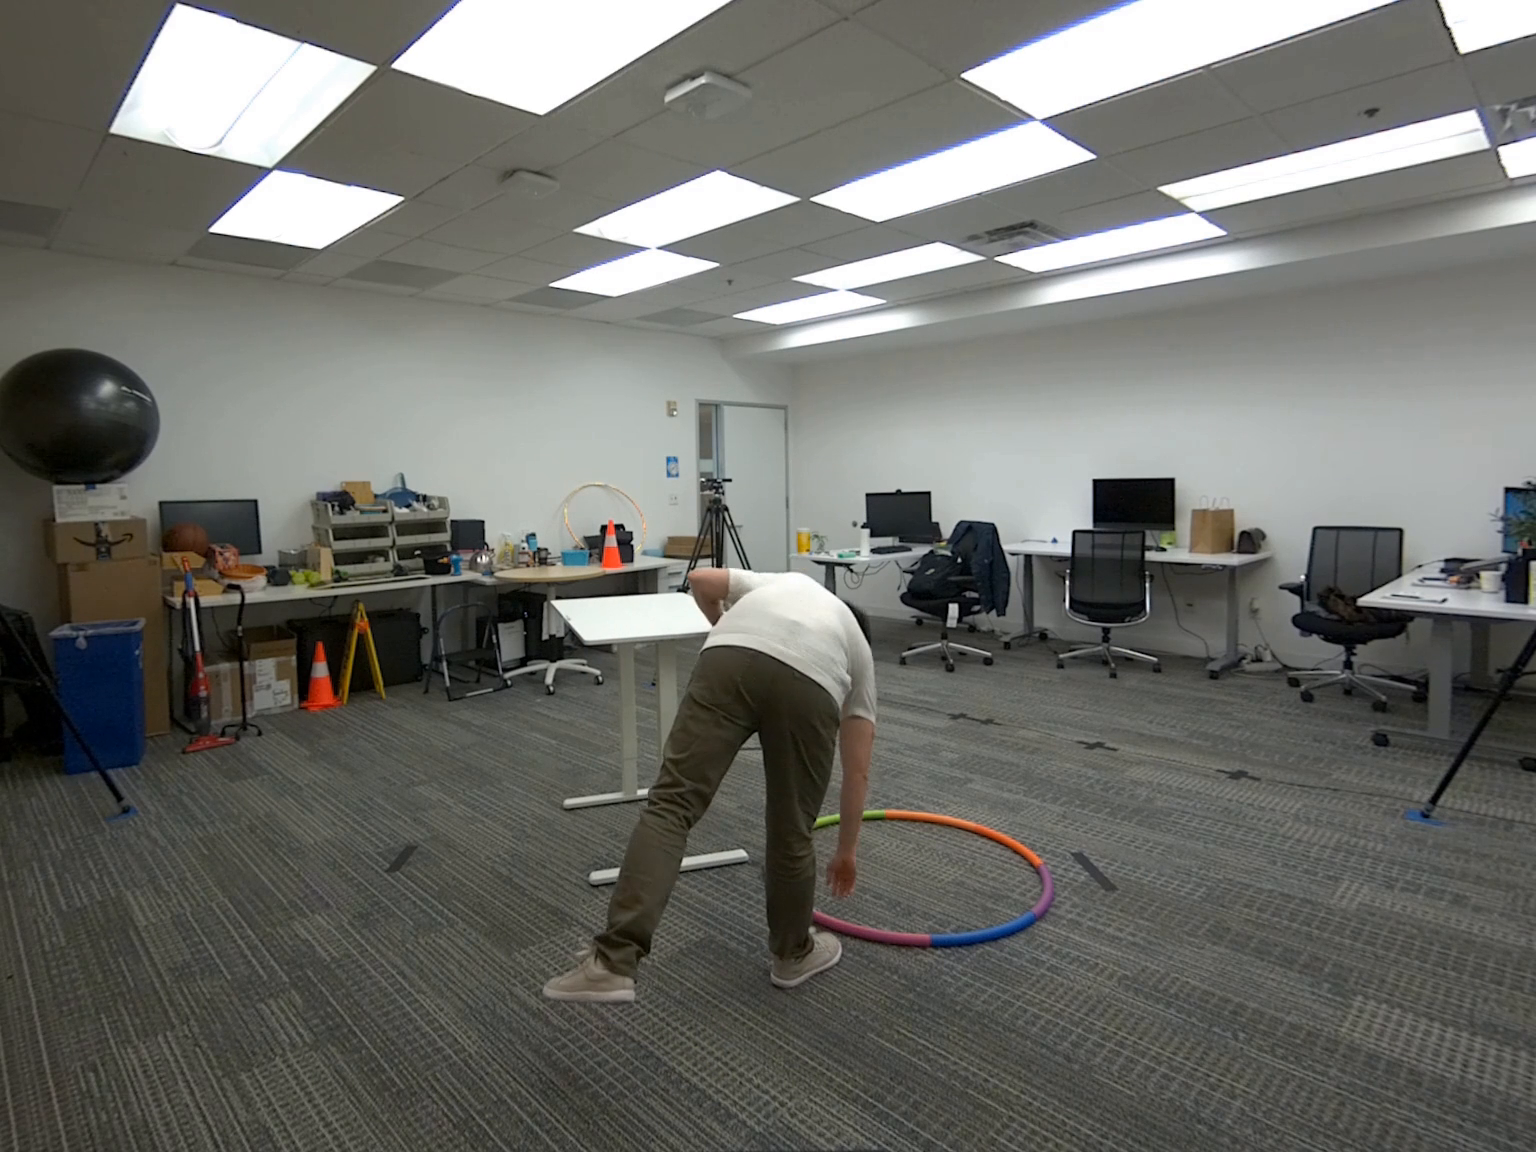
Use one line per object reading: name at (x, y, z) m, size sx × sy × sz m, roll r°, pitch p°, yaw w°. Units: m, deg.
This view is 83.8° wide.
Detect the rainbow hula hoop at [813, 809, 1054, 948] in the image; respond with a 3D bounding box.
rainbow hula hoop at (0.476, 1.014, 3.017) m, size 0.978 × 0.035 × 0.984 m, roll -1°, pitch 6°, yaw -2°
